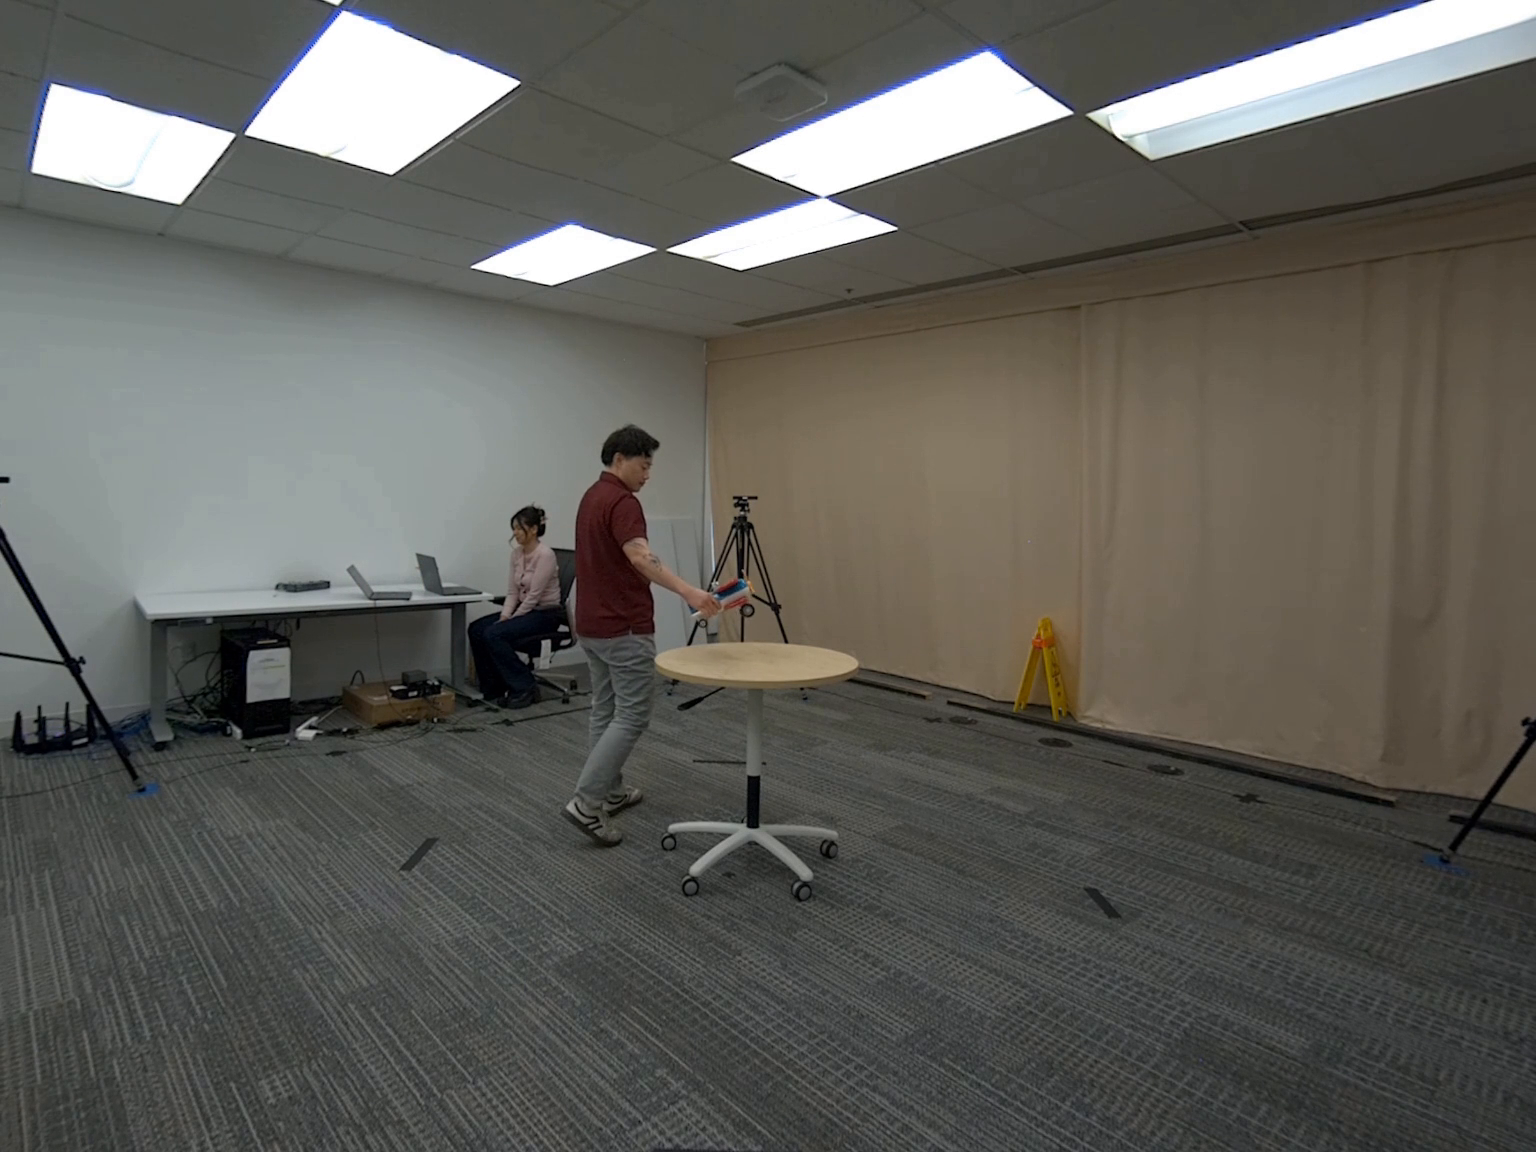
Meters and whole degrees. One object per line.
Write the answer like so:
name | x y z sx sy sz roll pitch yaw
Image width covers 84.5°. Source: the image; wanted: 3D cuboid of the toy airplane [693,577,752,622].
toy airplane | -0.180 0.102 3.203 0.255 0.157 0.254 -11 -4 -33
